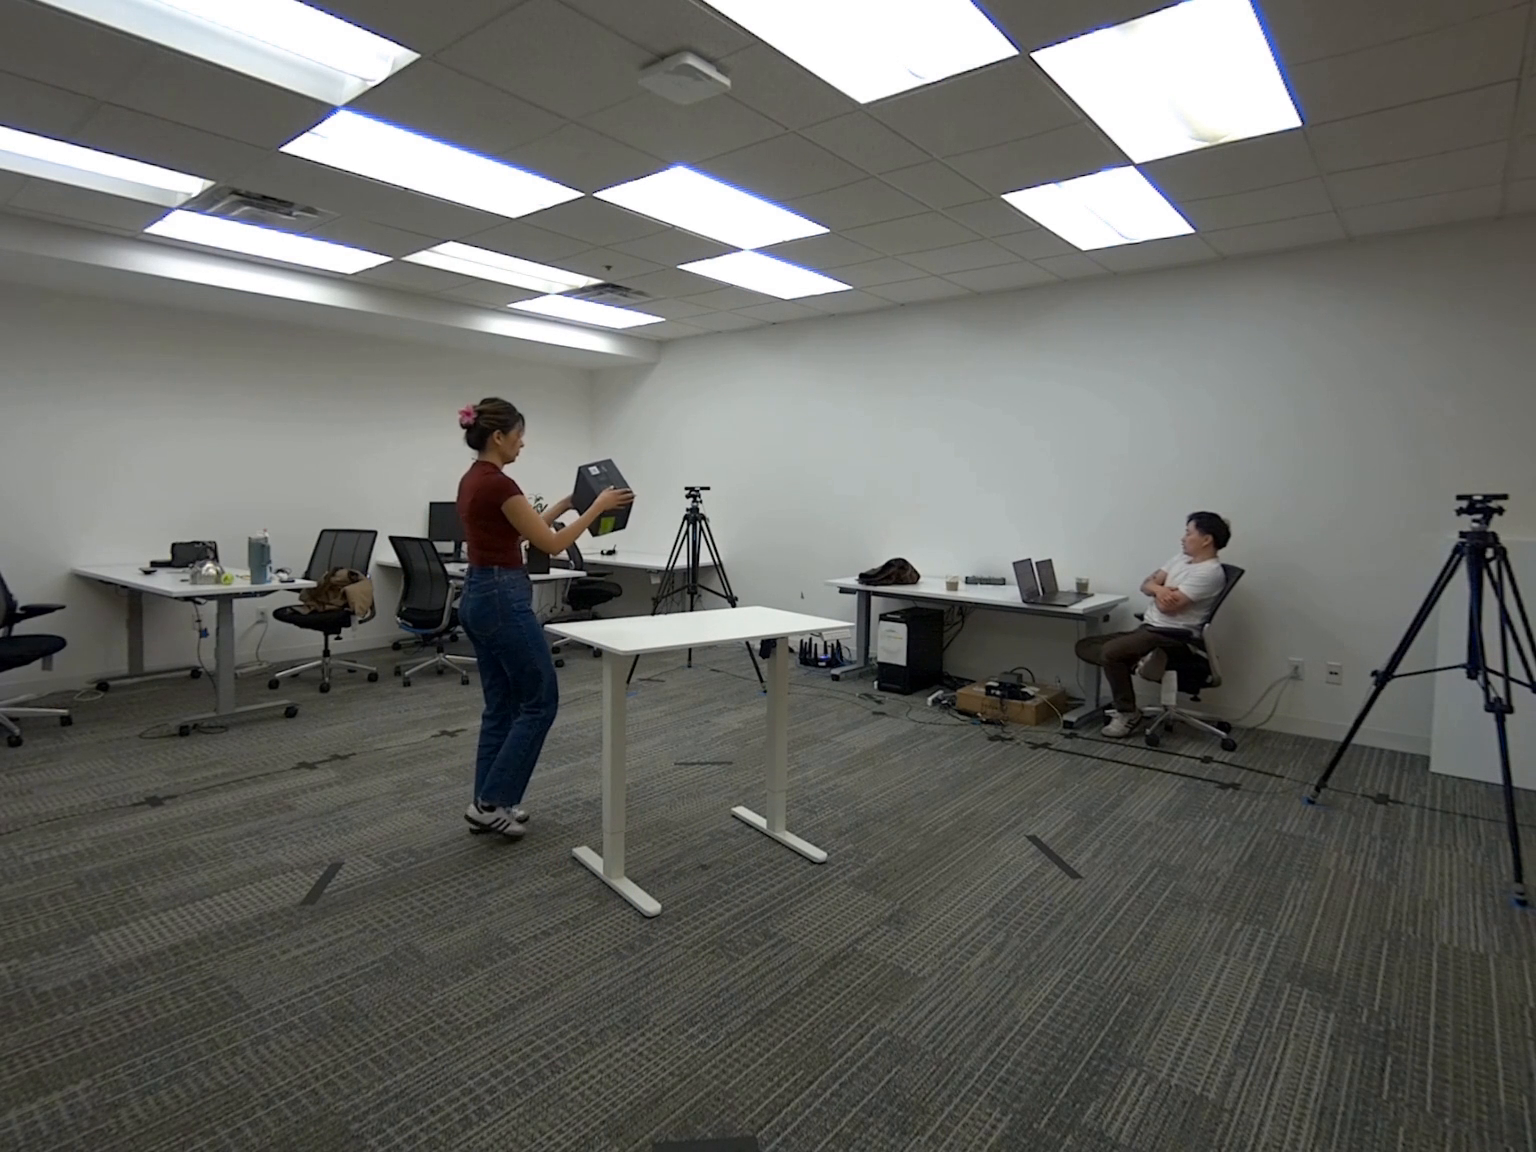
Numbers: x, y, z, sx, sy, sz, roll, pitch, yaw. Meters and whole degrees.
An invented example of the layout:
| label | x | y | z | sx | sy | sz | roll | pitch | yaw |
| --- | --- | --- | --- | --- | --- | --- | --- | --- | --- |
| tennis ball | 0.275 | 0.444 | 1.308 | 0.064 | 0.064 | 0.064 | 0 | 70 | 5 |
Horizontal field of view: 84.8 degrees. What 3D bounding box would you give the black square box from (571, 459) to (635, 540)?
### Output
| label | x | y | z | sx | sy | sz | roll | pitch | yaw |
| --- | --- | --- | --- | --- | --- | --- | --- | --- | --- |
| black square box | -0.708 | -0.326 | 3.570 | 0.153 | 0.224 | 0.225 | -18 | -30 | -32 |
